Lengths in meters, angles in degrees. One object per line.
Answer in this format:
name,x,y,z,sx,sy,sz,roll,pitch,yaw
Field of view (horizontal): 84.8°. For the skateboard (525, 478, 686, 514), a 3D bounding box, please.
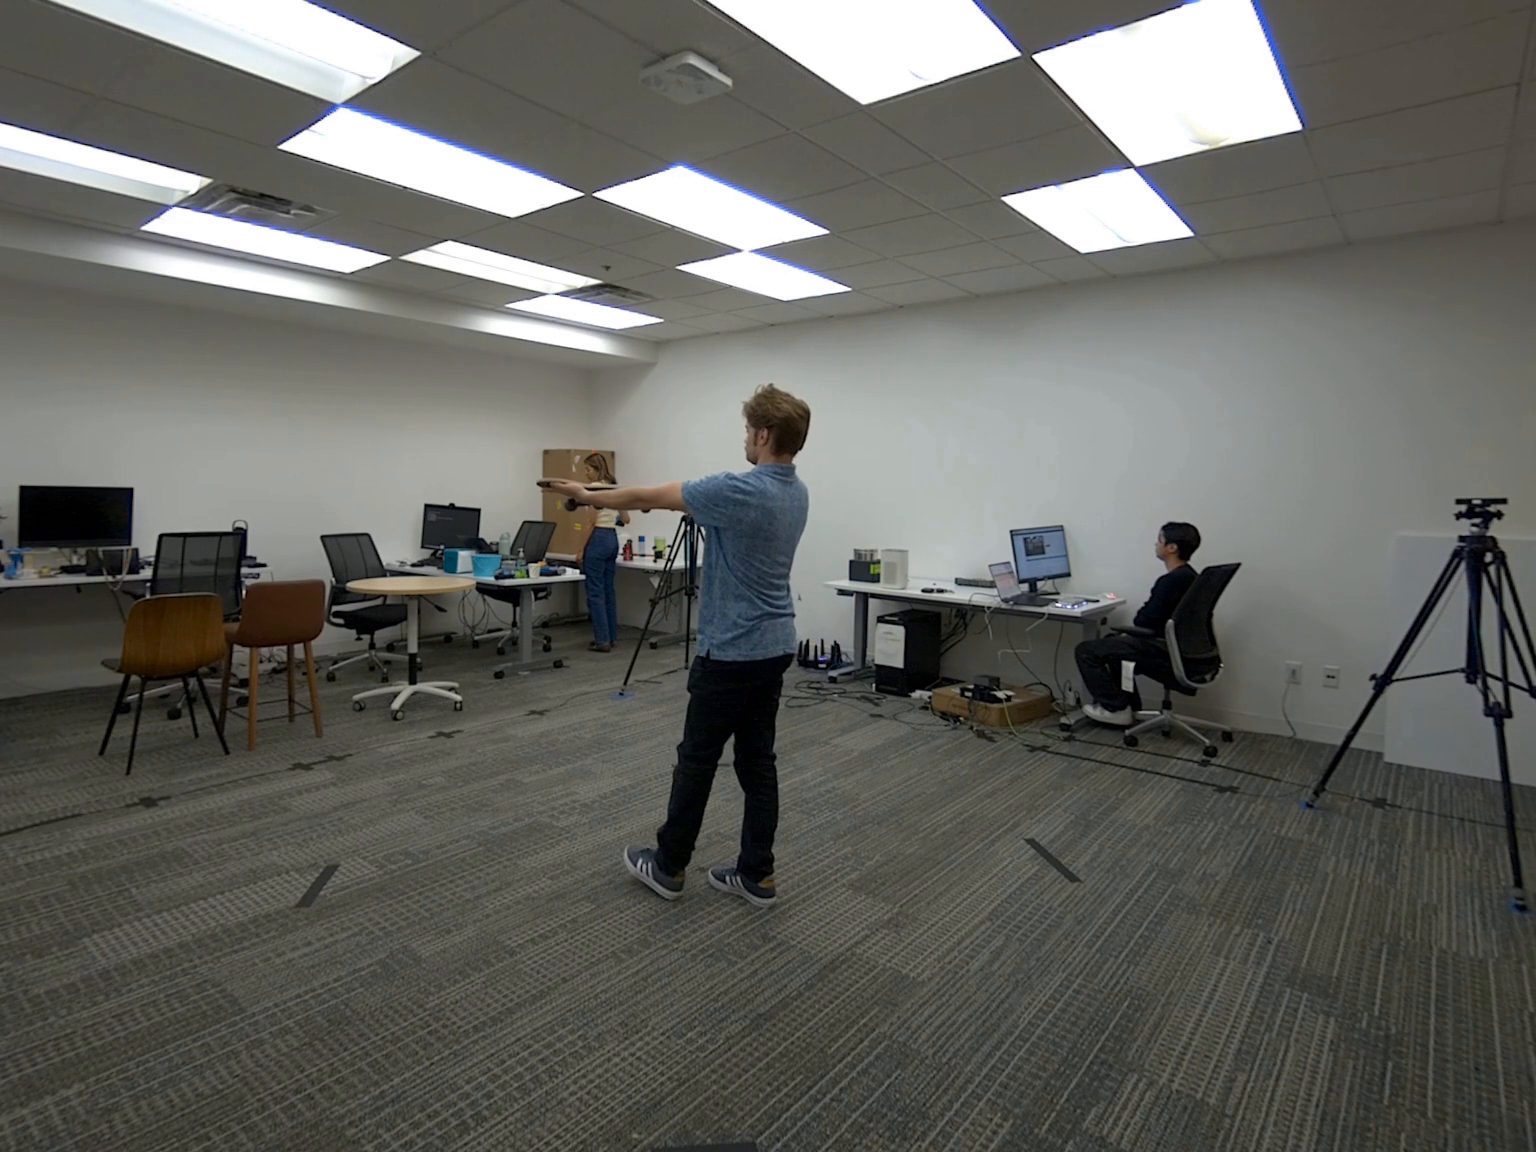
skateboard,-0.559,-0.304,3.249,0.199,0.110,0.762,1,3,38
